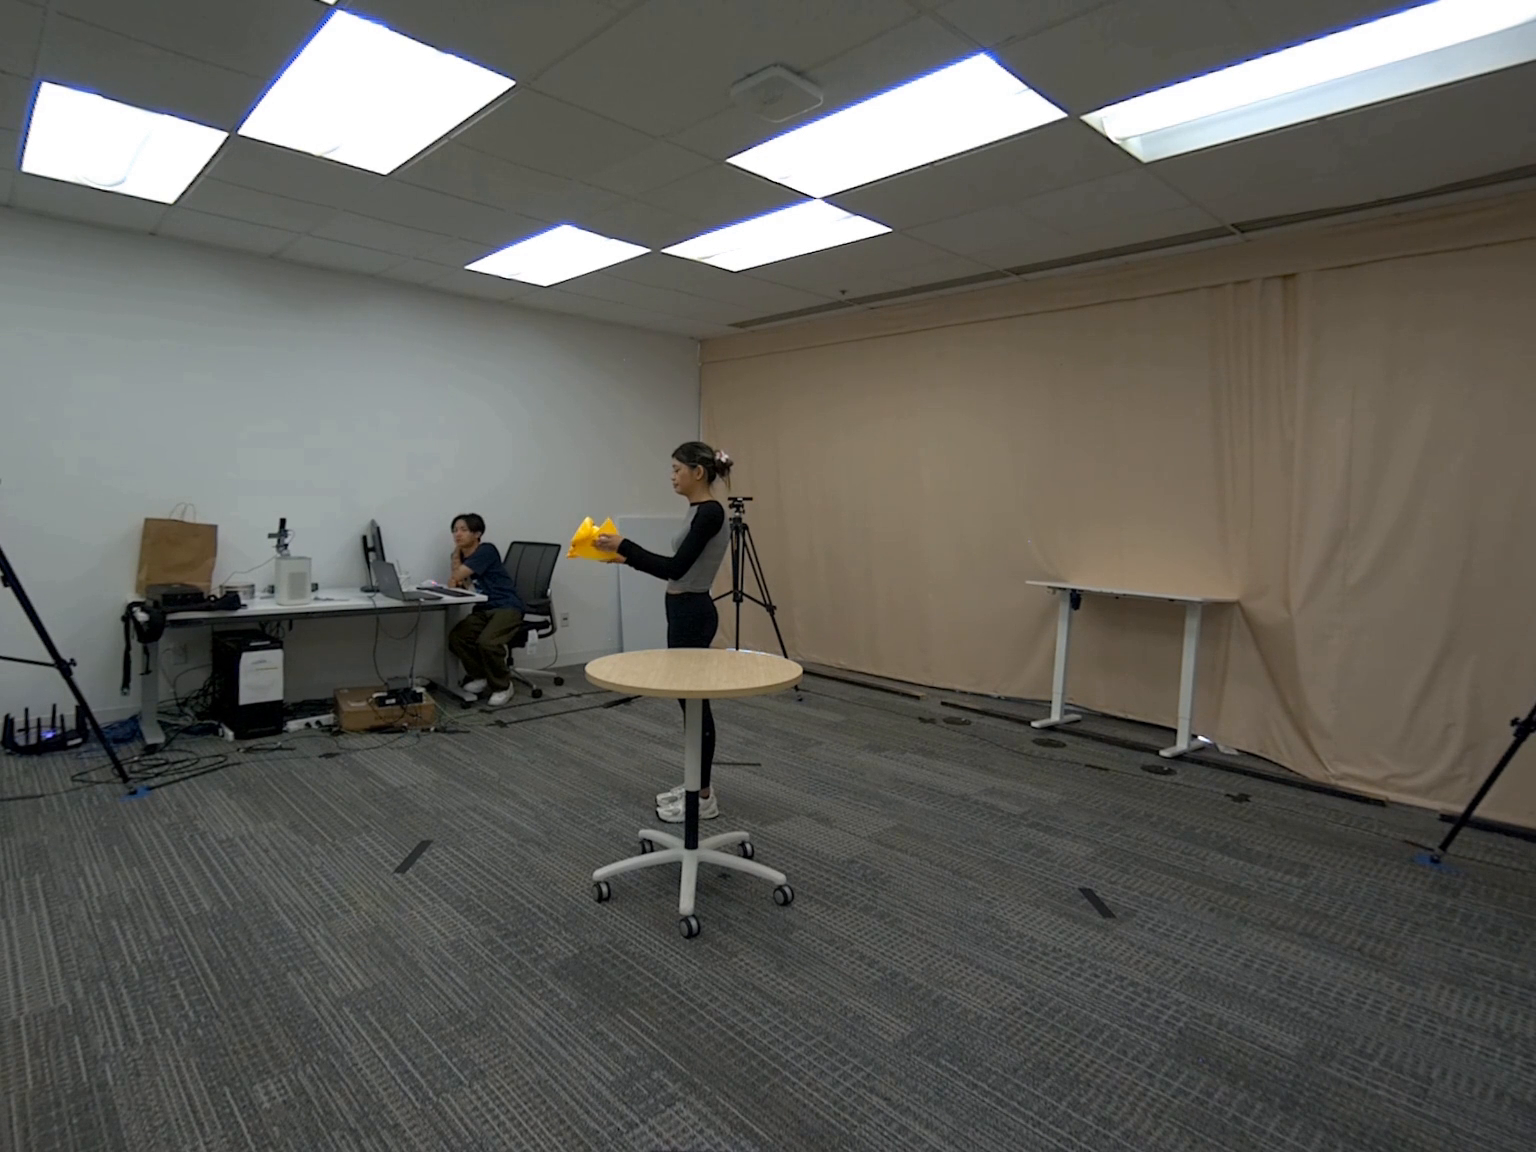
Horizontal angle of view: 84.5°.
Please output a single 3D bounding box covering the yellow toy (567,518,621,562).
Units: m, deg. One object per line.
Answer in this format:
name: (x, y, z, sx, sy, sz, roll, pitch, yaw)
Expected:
yellow toy: (-0.725, -0.122, 3.624, 0.230, 0.194, 0.204, 29, -35, -4)
